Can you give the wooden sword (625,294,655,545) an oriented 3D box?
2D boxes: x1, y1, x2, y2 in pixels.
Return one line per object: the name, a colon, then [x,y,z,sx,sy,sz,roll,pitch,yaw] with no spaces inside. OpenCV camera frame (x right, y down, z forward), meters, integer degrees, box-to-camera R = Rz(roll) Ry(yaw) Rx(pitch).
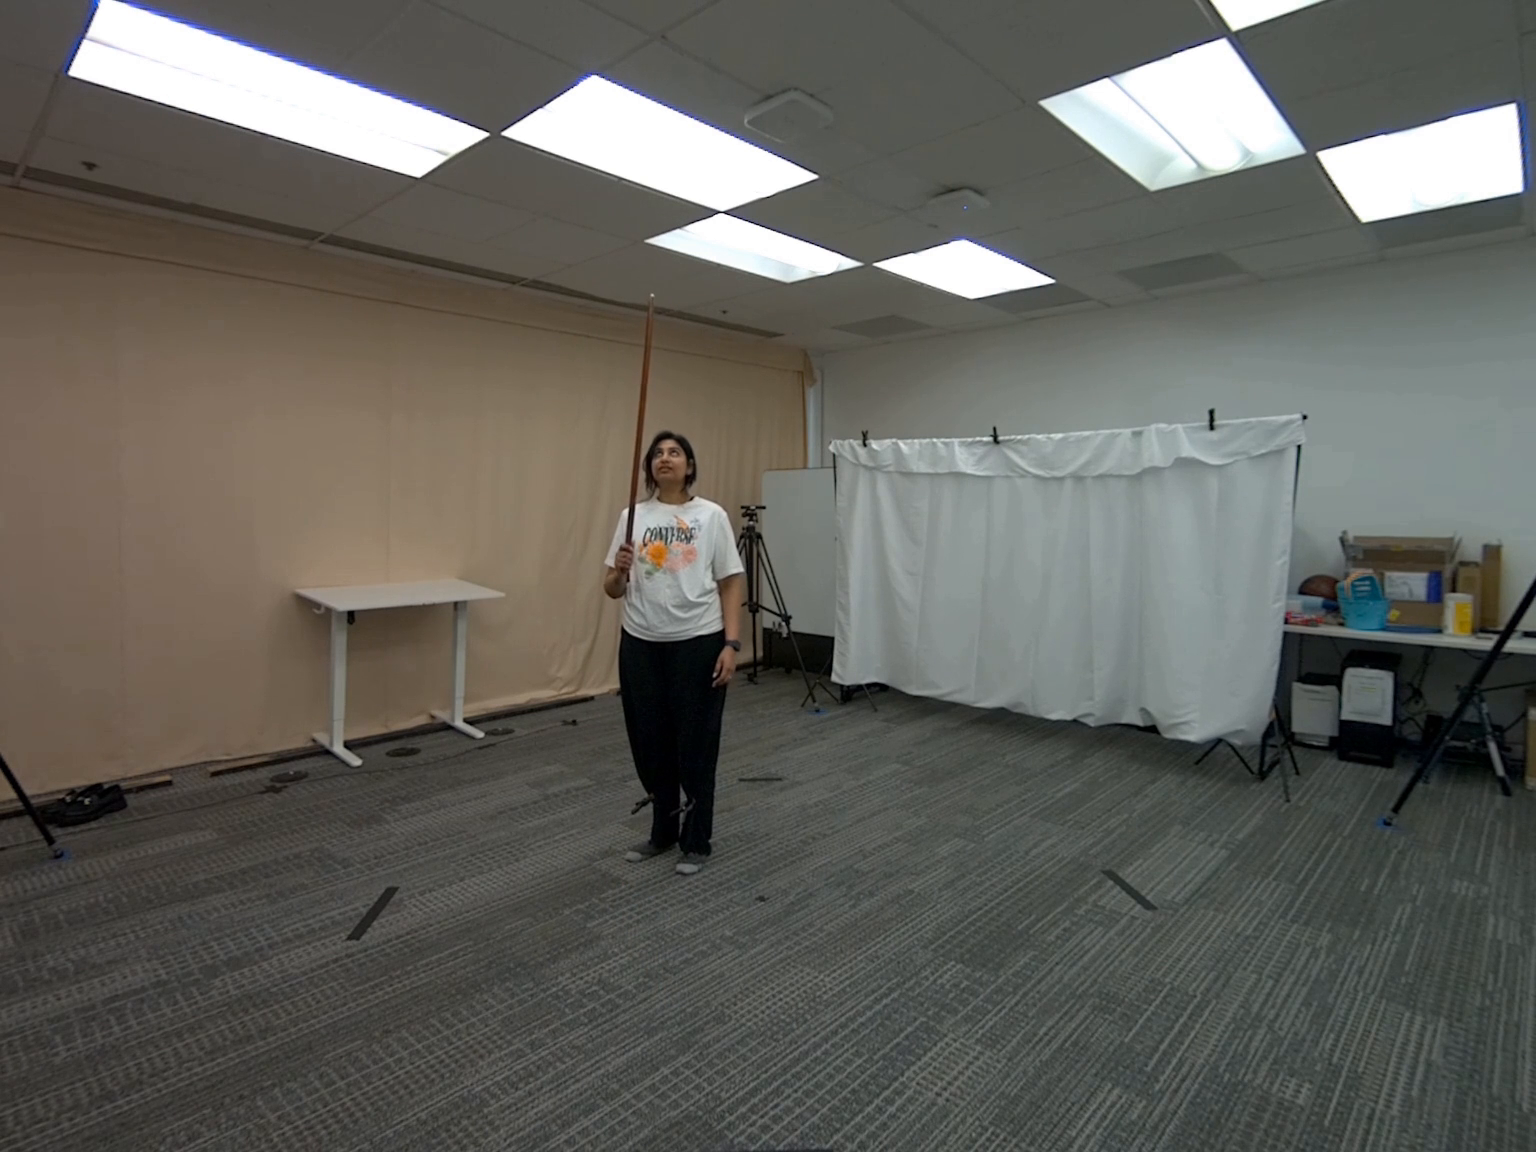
wooden sword: [-0.474,-0.515,3.080,0.053,1.024,0.023,6,1,34]
